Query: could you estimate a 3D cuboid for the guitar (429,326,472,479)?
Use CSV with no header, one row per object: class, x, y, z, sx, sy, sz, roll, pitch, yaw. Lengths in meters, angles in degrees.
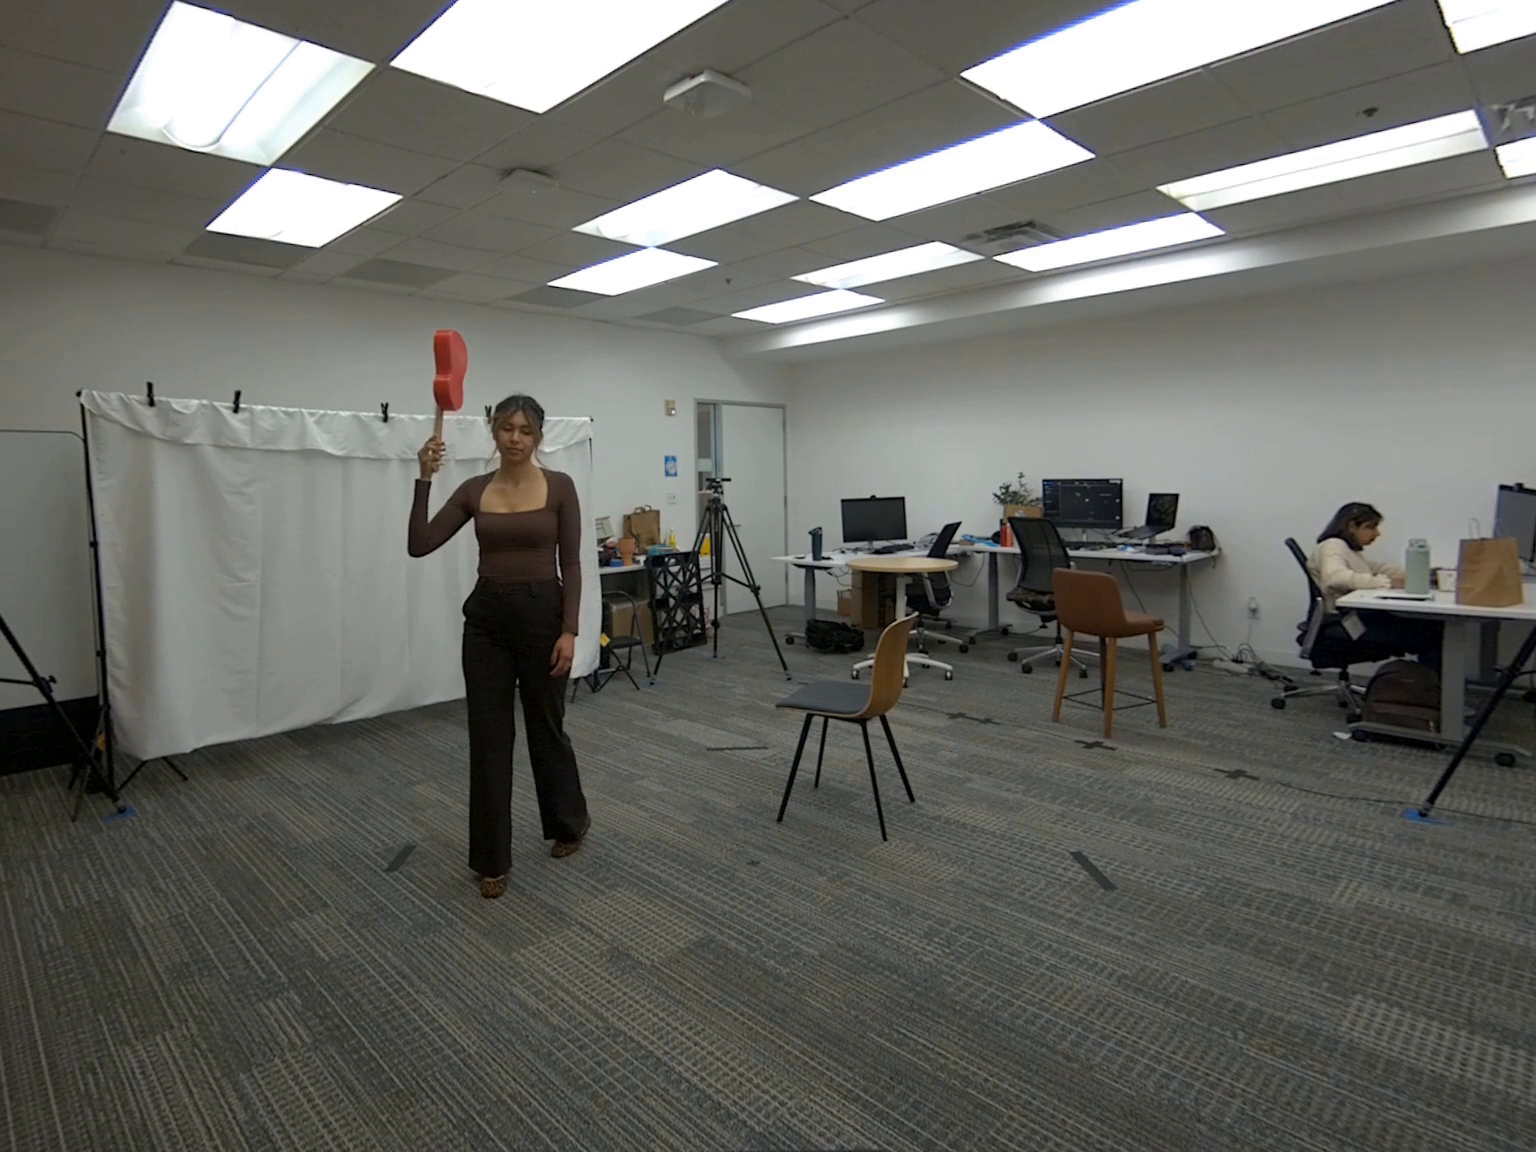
guitar,-1.110,-0.601,2.995,0.071,0.498,0.193,1,-1,-2
